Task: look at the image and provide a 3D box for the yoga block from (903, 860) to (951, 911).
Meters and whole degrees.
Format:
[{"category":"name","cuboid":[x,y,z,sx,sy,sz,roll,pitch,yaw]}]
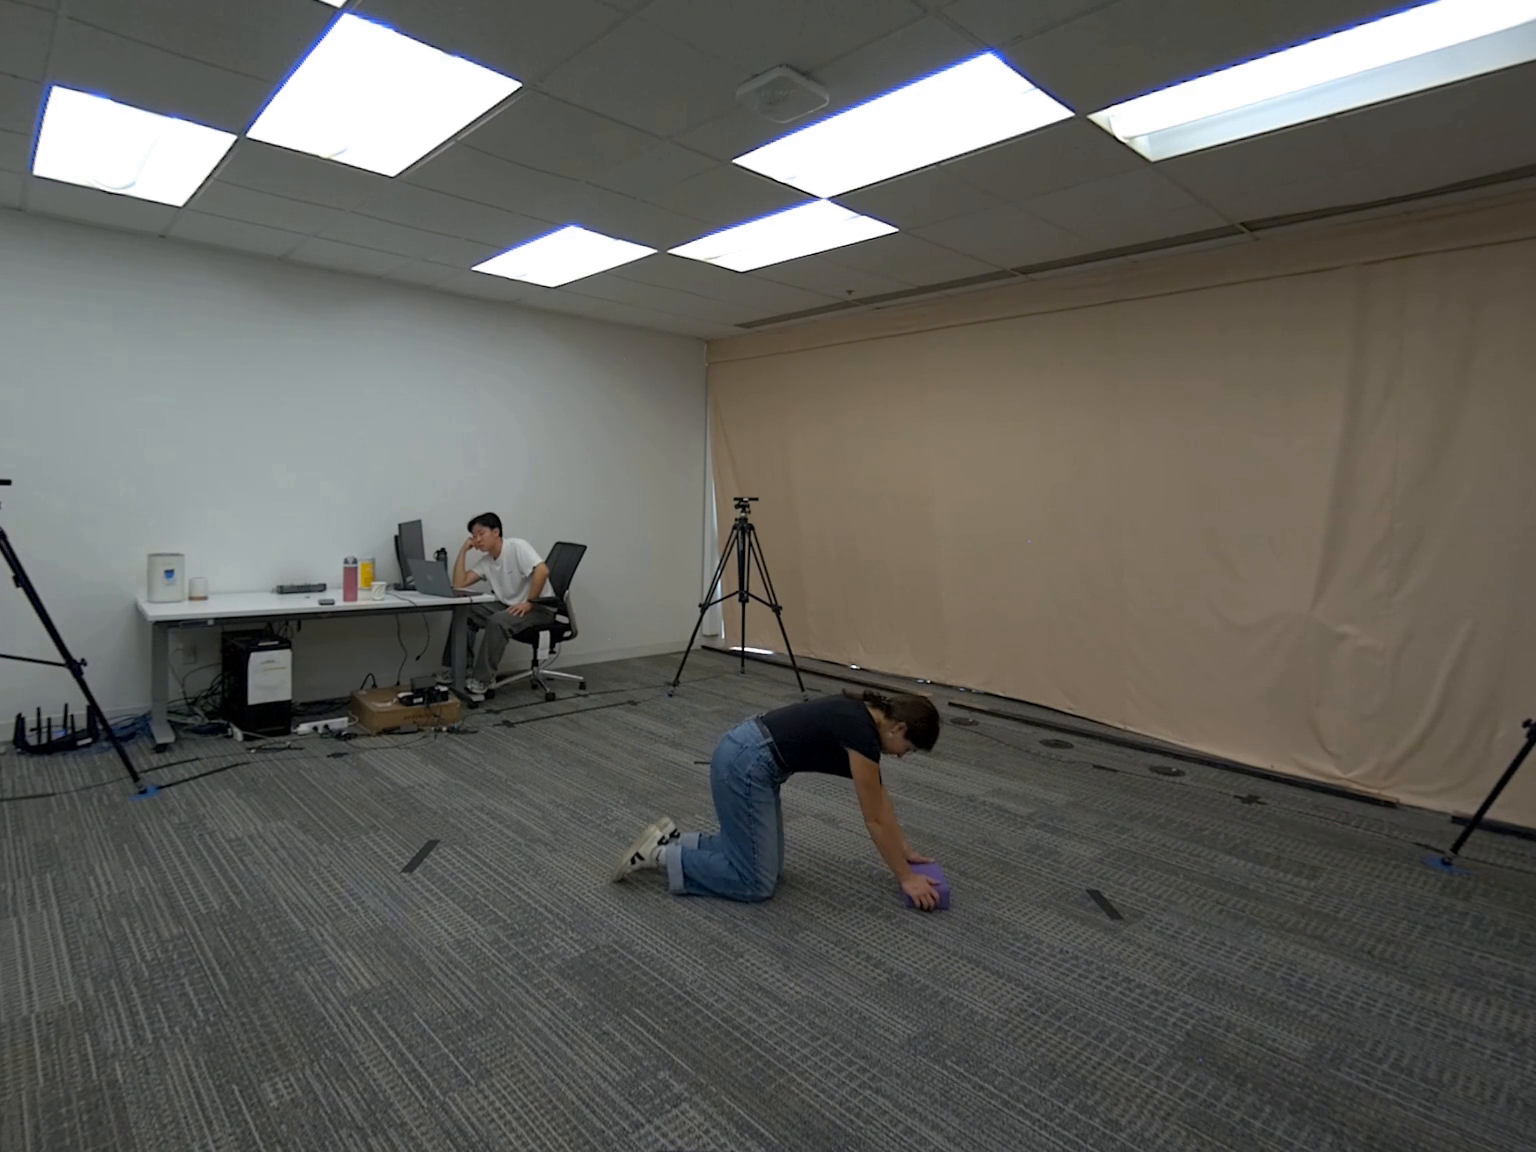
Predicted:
[{"category":"yoga block","cuboid":[0.544,1.097,2.989,0.149,0.076,0.229,1,5,1]}]
